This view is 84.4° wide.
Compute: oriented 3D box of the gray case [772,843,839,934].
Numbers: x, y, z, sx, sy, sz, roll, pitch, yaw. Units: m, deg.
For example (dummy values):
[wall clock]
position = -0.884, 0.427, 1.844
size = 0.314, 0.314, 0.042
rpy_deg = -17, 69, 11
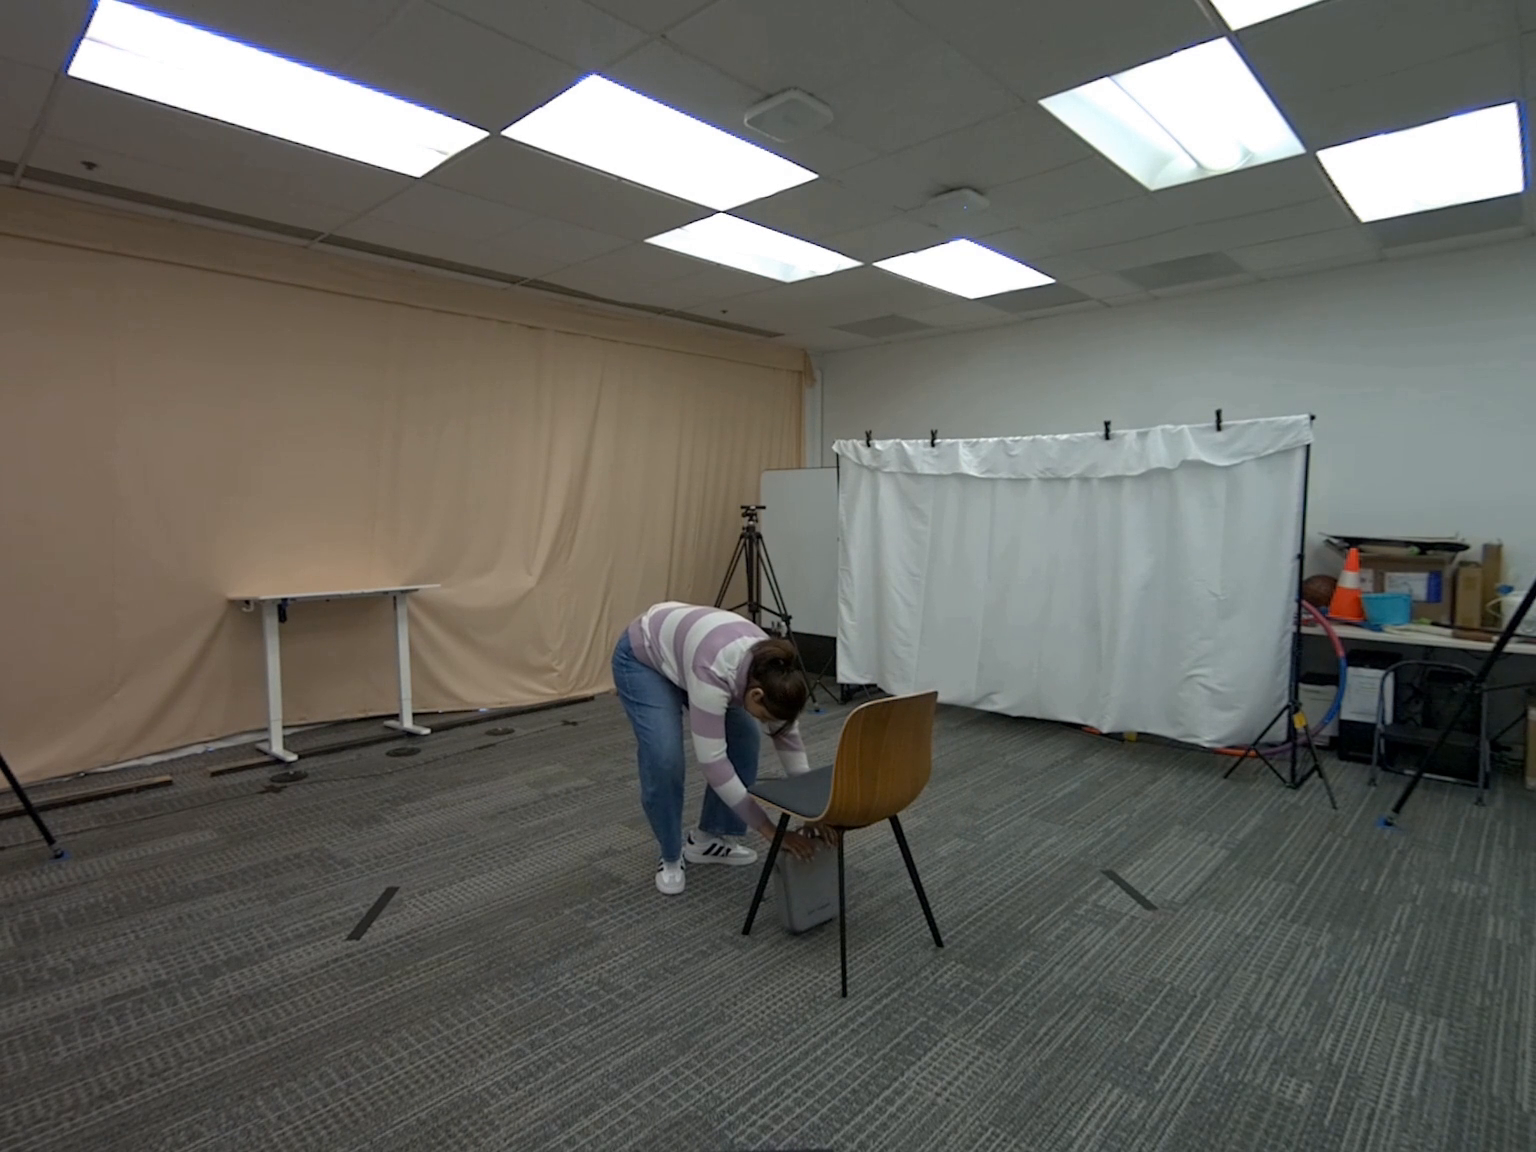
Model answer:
[gray case]
position = 0.139, 1.013, 2.787
size = 0.249, 0.262, 0.107
rpy_deg = -1, -8, -42
